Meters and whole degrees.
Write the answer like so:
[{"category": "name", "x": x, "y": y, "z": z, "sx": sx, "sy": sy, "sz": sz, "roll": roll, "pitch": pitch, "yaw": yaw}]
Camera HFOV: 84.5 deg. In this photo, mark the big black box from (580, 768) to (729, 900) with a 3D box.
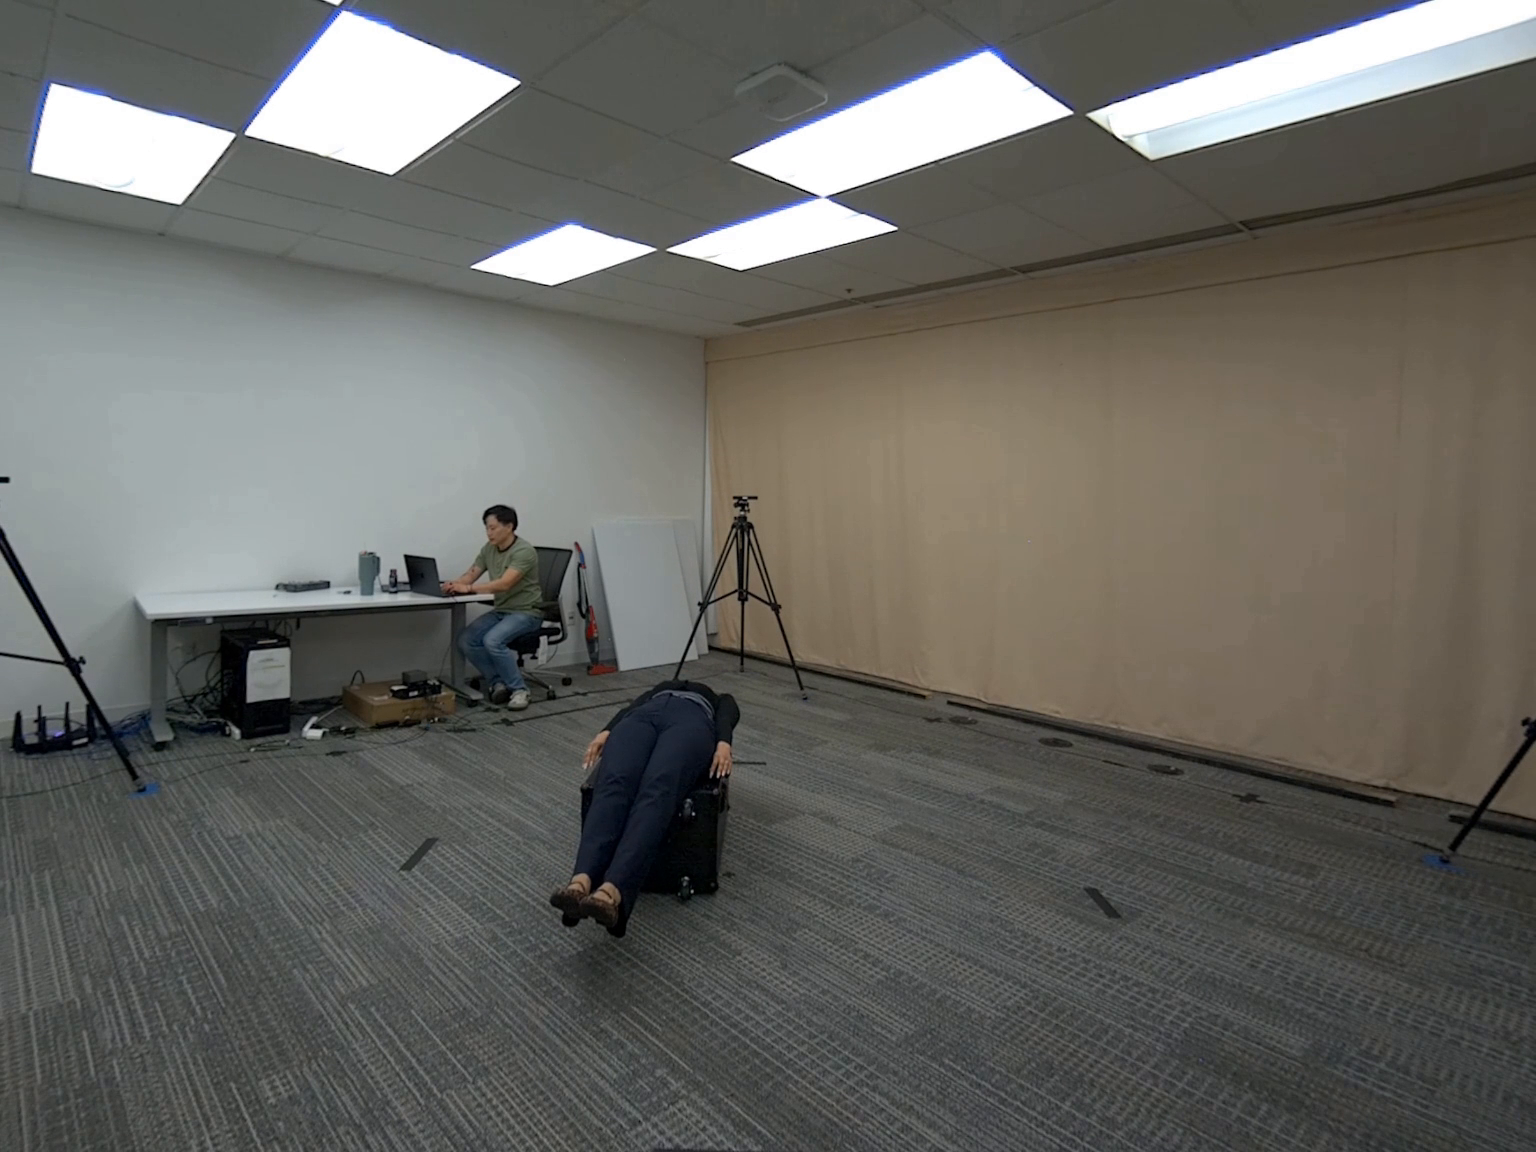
[{"category": "big black box", "x": -0.419, "y": 0.886, "z": 3.271, "sx": 0.522, "sy": 0.395, "sz": 0.862, "roll": 2, "pitch": 4, "yaw": 1}]
